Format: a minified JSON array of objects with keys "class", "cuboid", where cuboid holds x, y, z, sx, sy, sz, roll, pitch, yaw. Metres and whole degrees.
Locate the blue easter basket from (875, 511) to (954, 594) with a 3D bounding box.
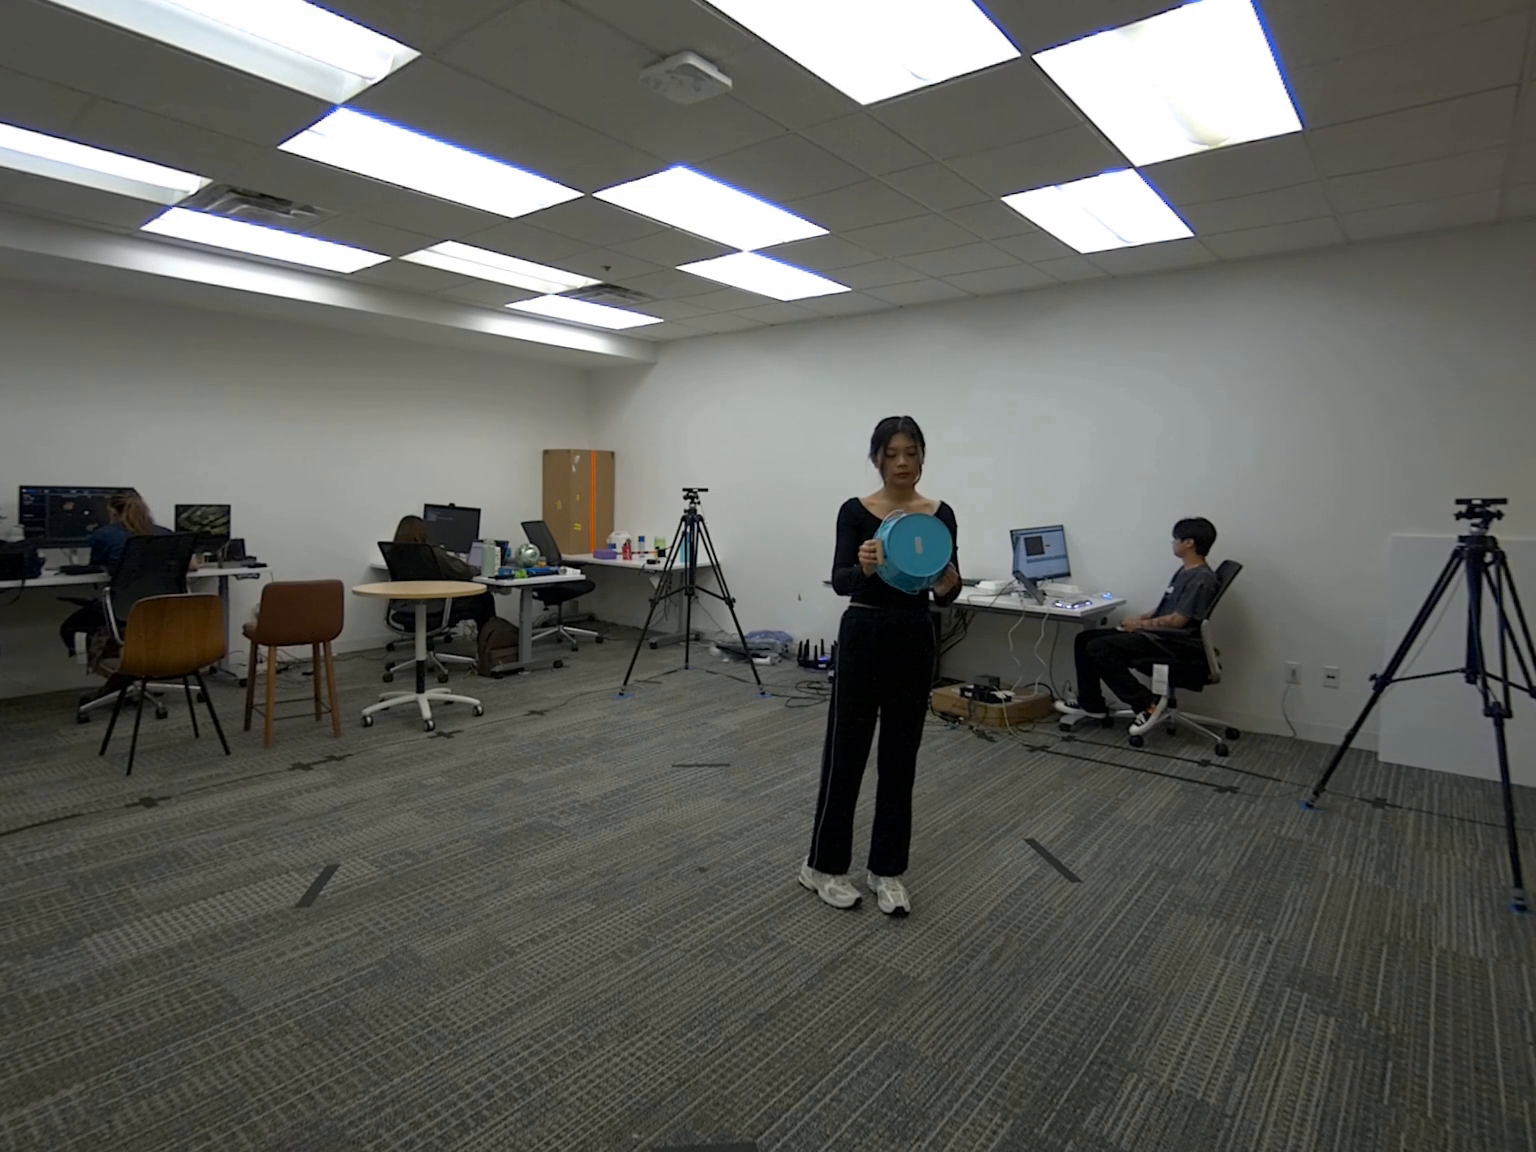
[{"class":"blue easter basket","cuboid":[0.423,-0.086,2.460,0.244,0.245,0.154,1,-8,0]}]
